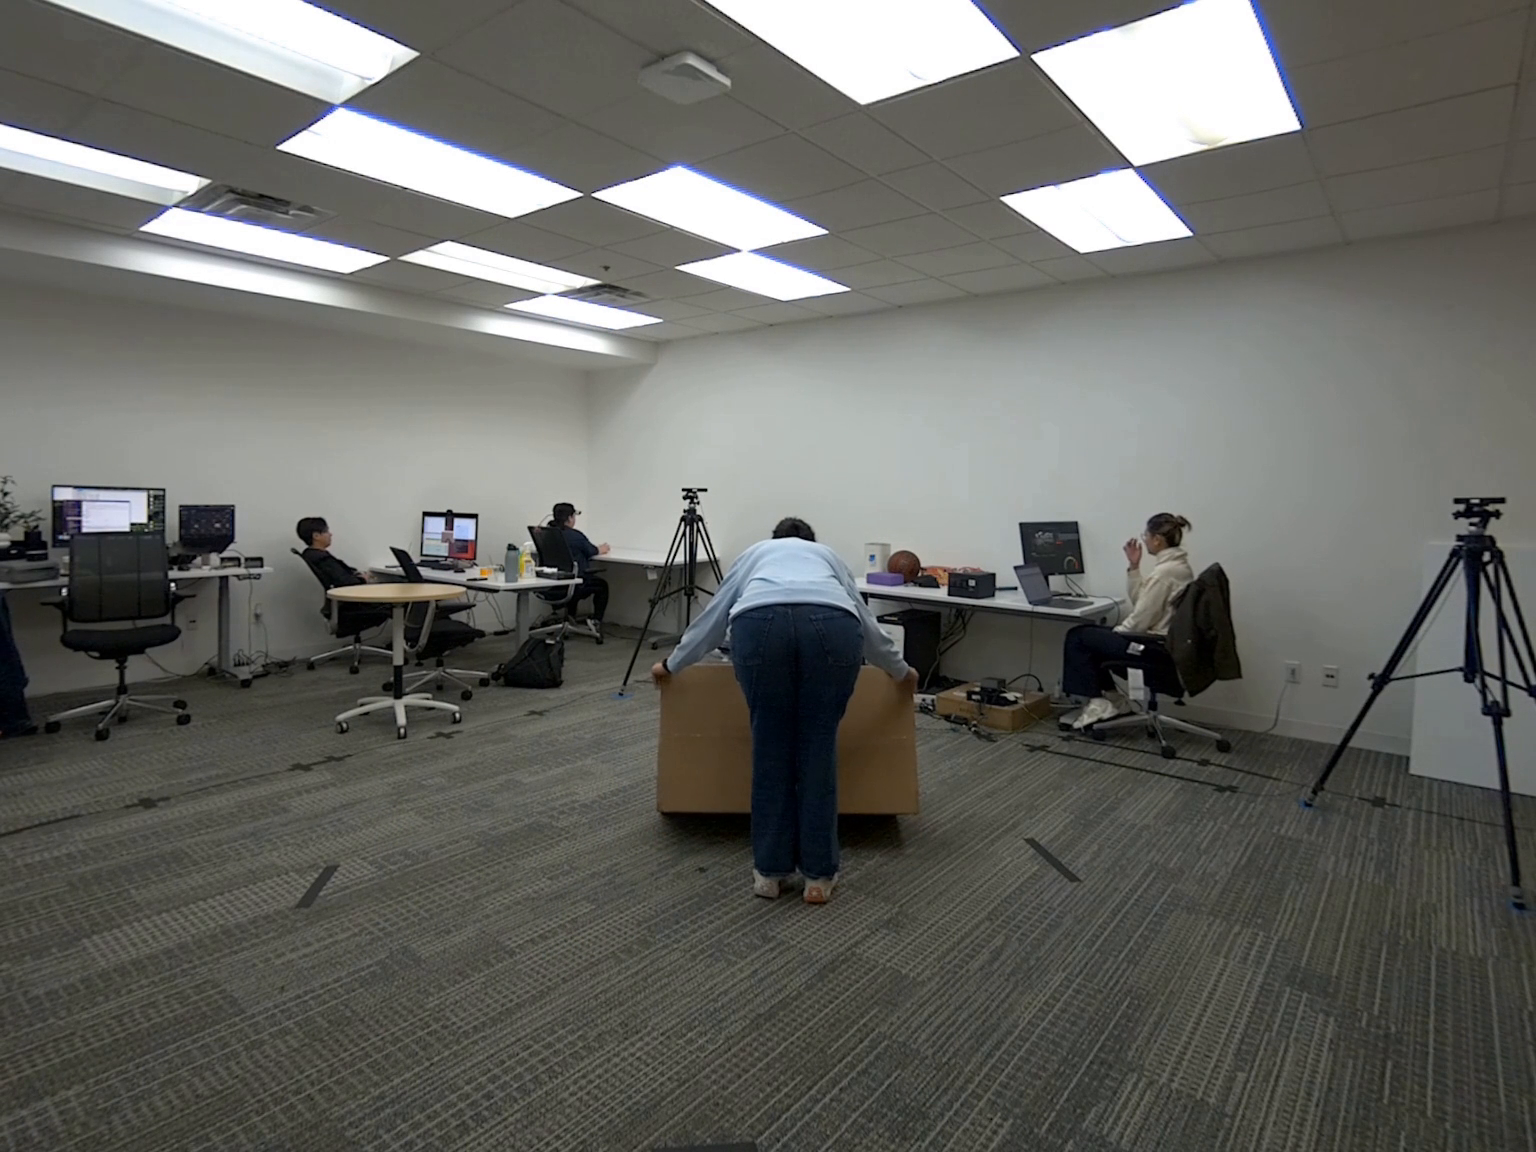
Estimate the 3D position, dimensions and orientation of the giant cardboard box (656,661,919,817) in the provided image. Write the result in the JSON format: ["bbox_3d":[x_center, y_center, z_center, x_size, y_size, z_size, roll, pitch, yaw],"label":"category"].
[{"bbox_3d":[0.053,0.686,3.566,1.024,0.587,0.420,1,-17,-2],"label":"giant cardboard box"}]
